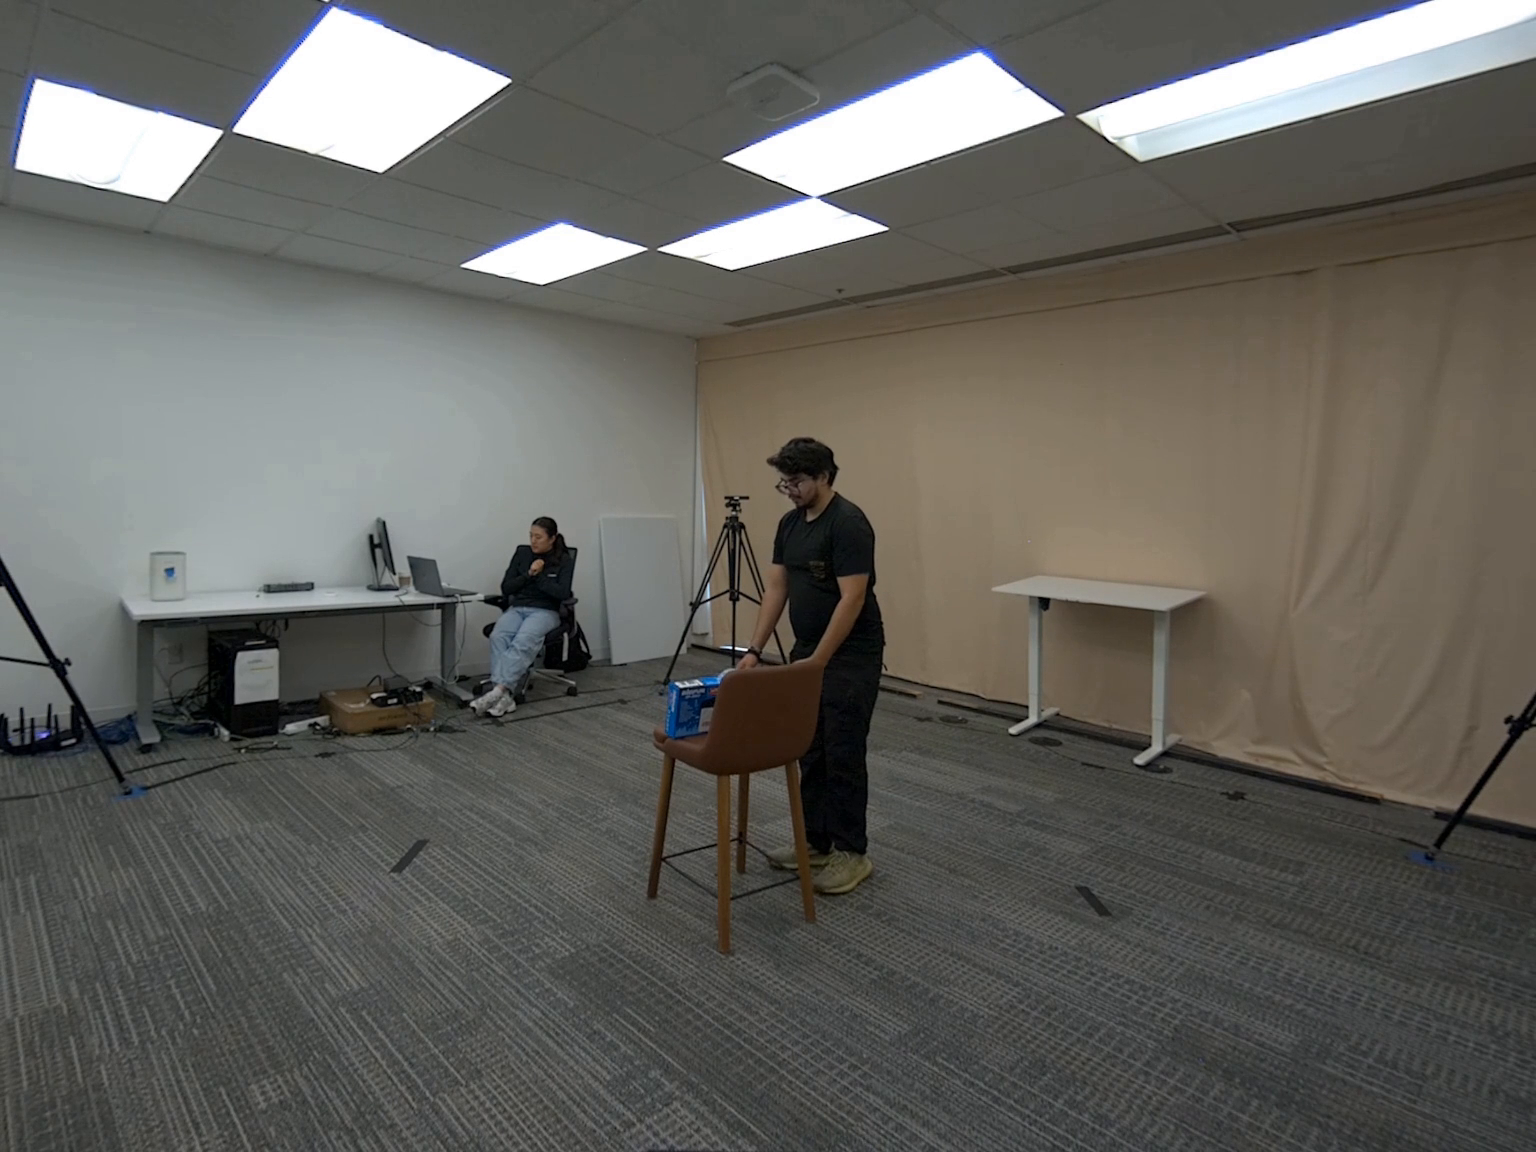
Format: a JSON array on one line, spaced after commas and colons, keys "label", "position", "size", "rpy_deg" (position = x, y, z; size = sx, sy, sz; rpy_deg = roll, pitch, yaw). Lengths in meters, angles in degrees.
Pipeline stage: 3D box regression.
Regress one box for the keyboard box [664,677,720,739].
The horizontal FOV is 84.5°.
[{"label": "keyboard box", "position": [-0.137, 0.428, 2.825], "size": [0.427, 0.175, 0.061], "rpy_deg": [-1, 14, -36]}]
